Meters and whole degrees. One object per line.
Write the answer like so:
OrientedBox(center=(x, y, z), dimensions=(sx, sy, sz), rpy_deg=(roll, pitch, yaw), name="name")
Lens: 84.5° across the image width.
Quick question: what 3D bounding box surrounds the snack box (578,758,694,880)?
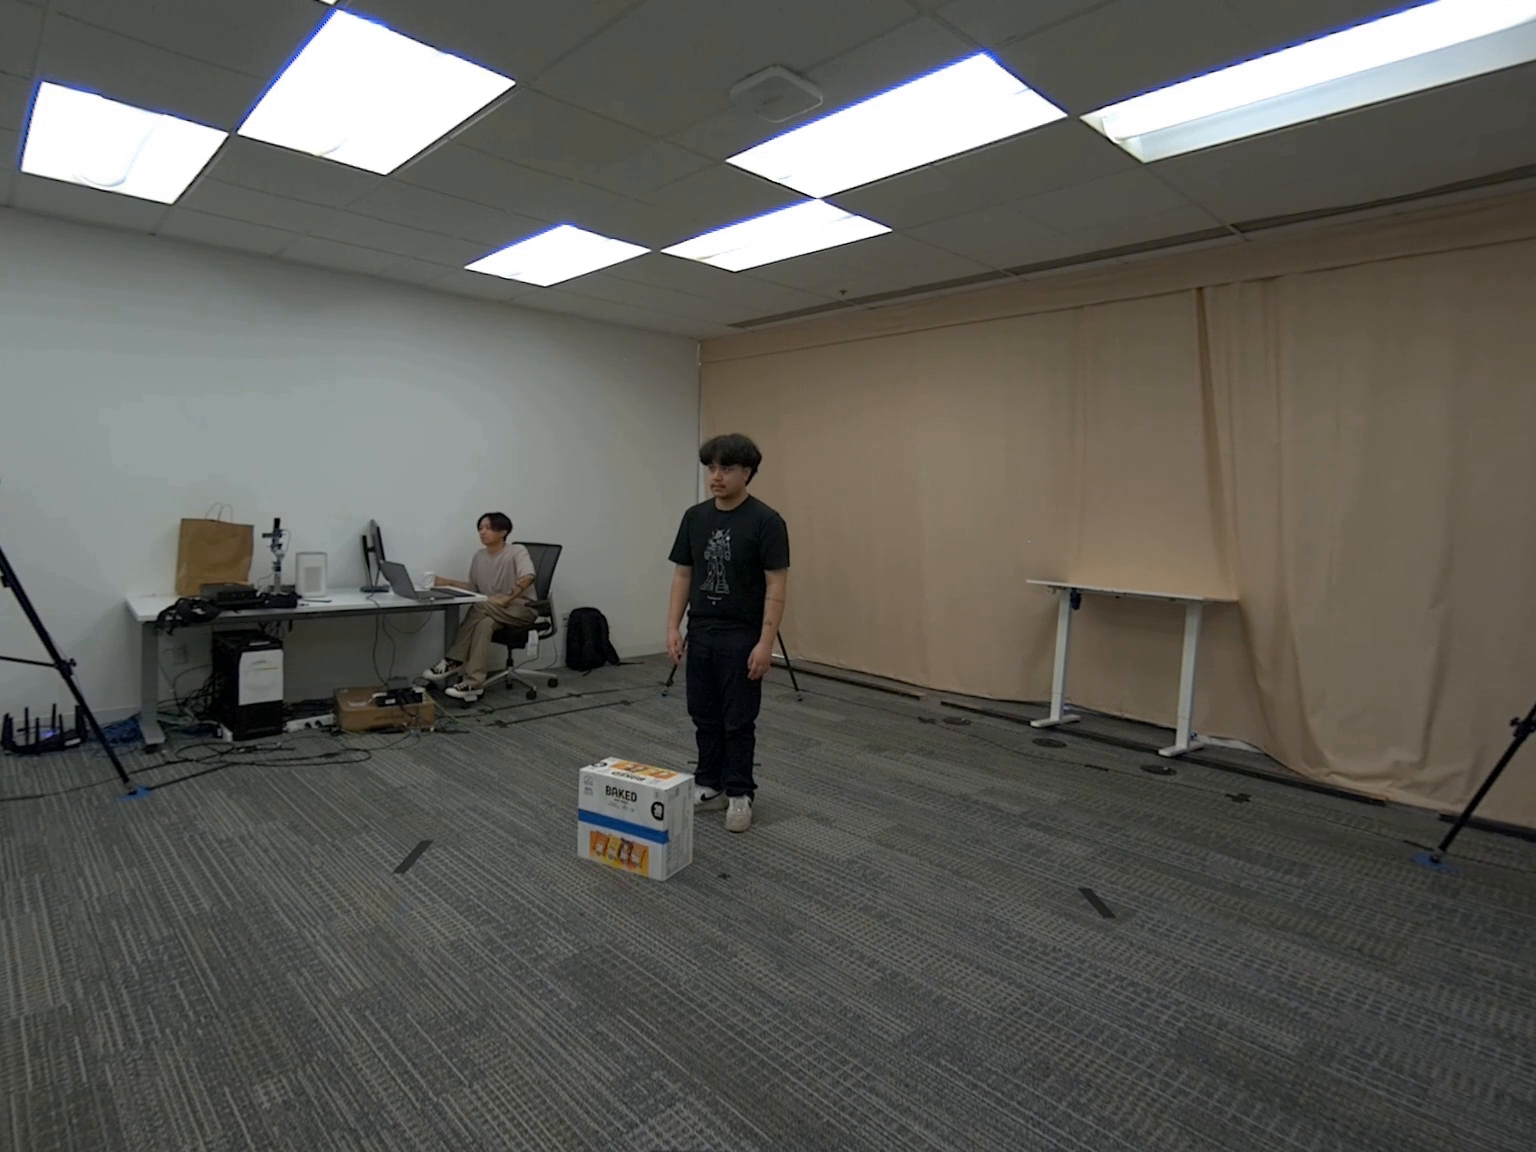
OrientedBox(center=(-0.515, 0.919, 3.219), dimensions=(0.414, 0.339, 0.202), rpy_deg=(5, 4, 29), name="snack box")
